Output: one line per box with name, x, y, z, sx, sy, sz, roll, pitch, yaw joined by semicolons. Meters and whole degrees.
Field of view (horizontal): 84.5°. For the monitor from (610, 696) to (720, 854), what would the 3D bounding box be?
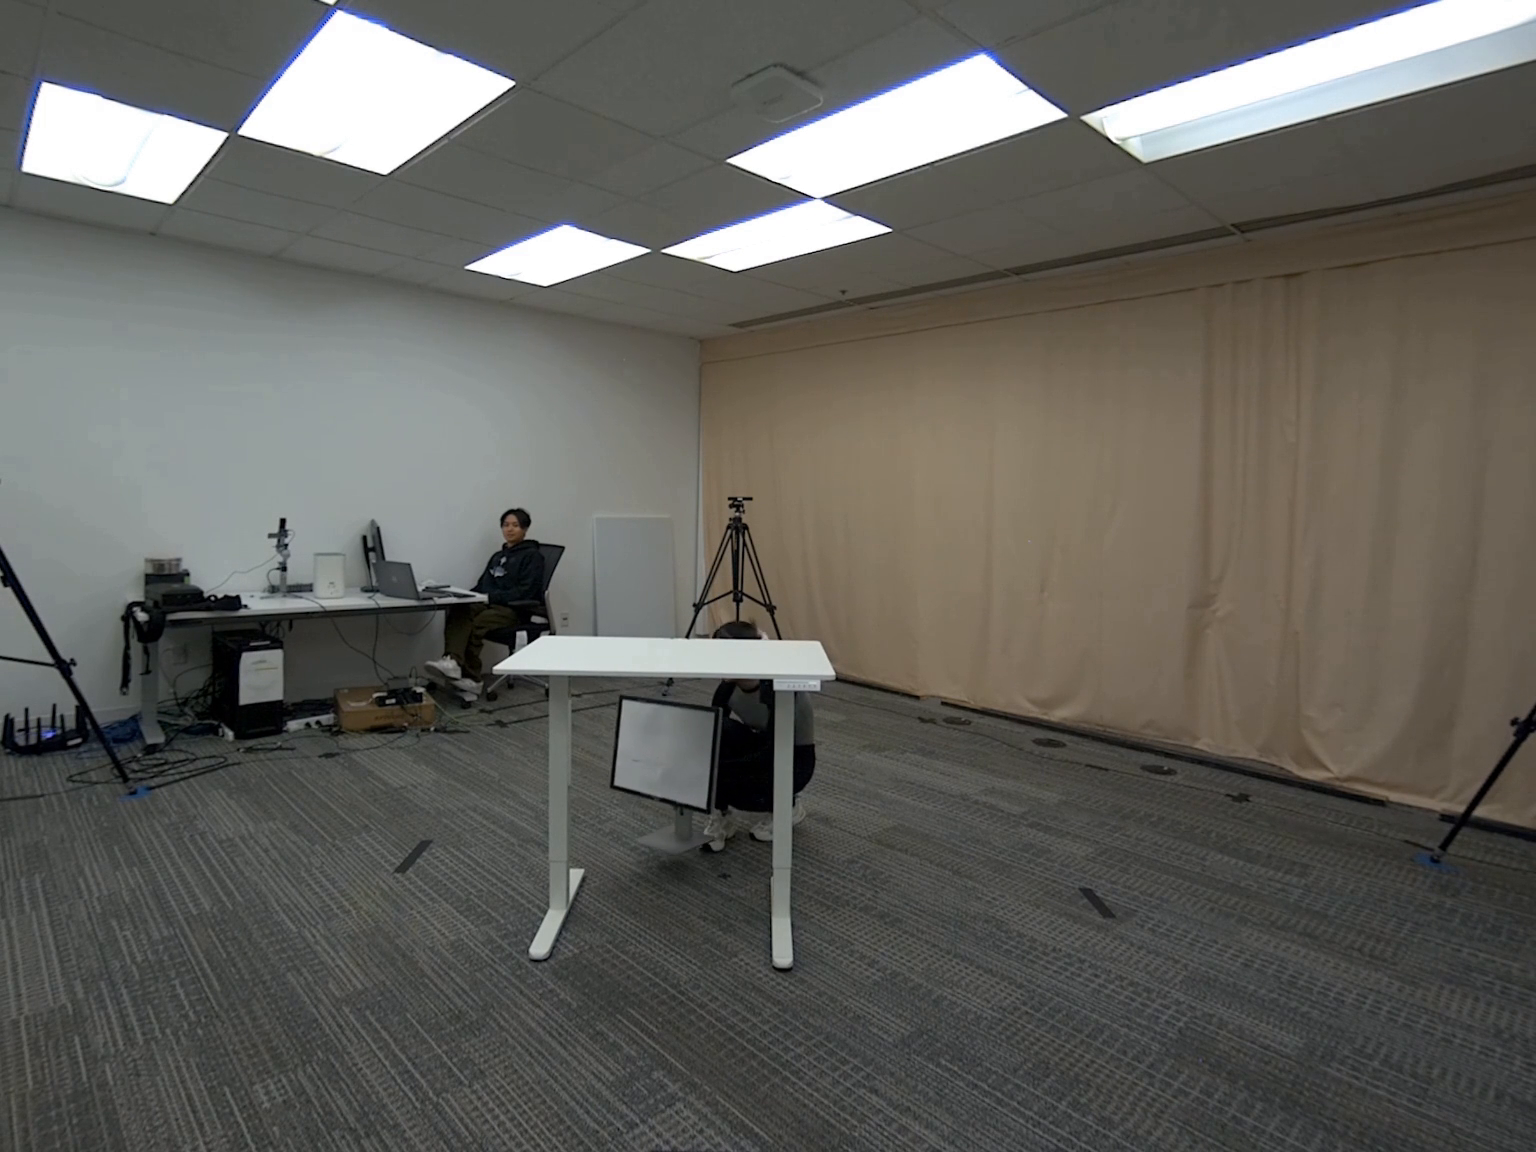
monitor;-0.369;0.736;3.142;0.551;0.522;0.183;-3;0;43
